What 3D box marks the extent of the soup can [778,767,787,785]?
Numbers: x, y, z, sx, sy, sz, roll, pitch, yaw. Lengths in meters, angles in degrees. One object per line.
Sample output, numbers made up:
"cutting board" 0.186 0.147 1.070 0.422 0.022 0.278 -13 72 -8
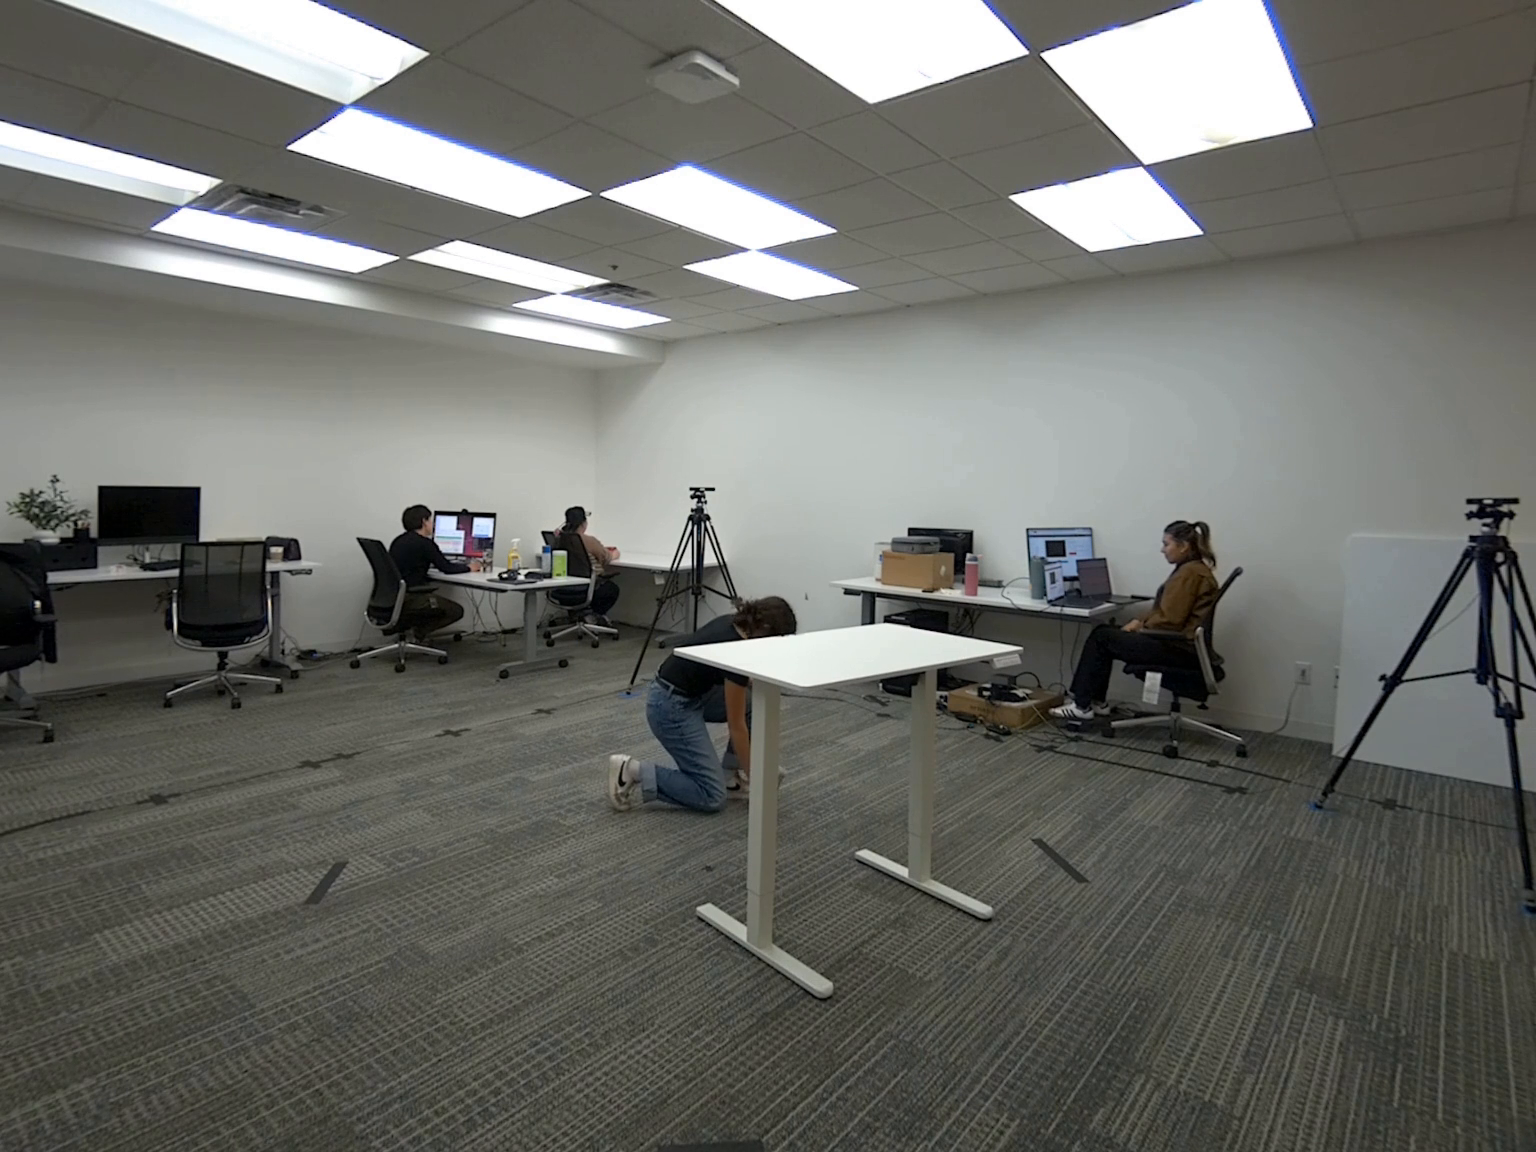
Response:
"soup can" 0.018 0.893 3.728 0.067 0.121 0.067 26 -1 -2
